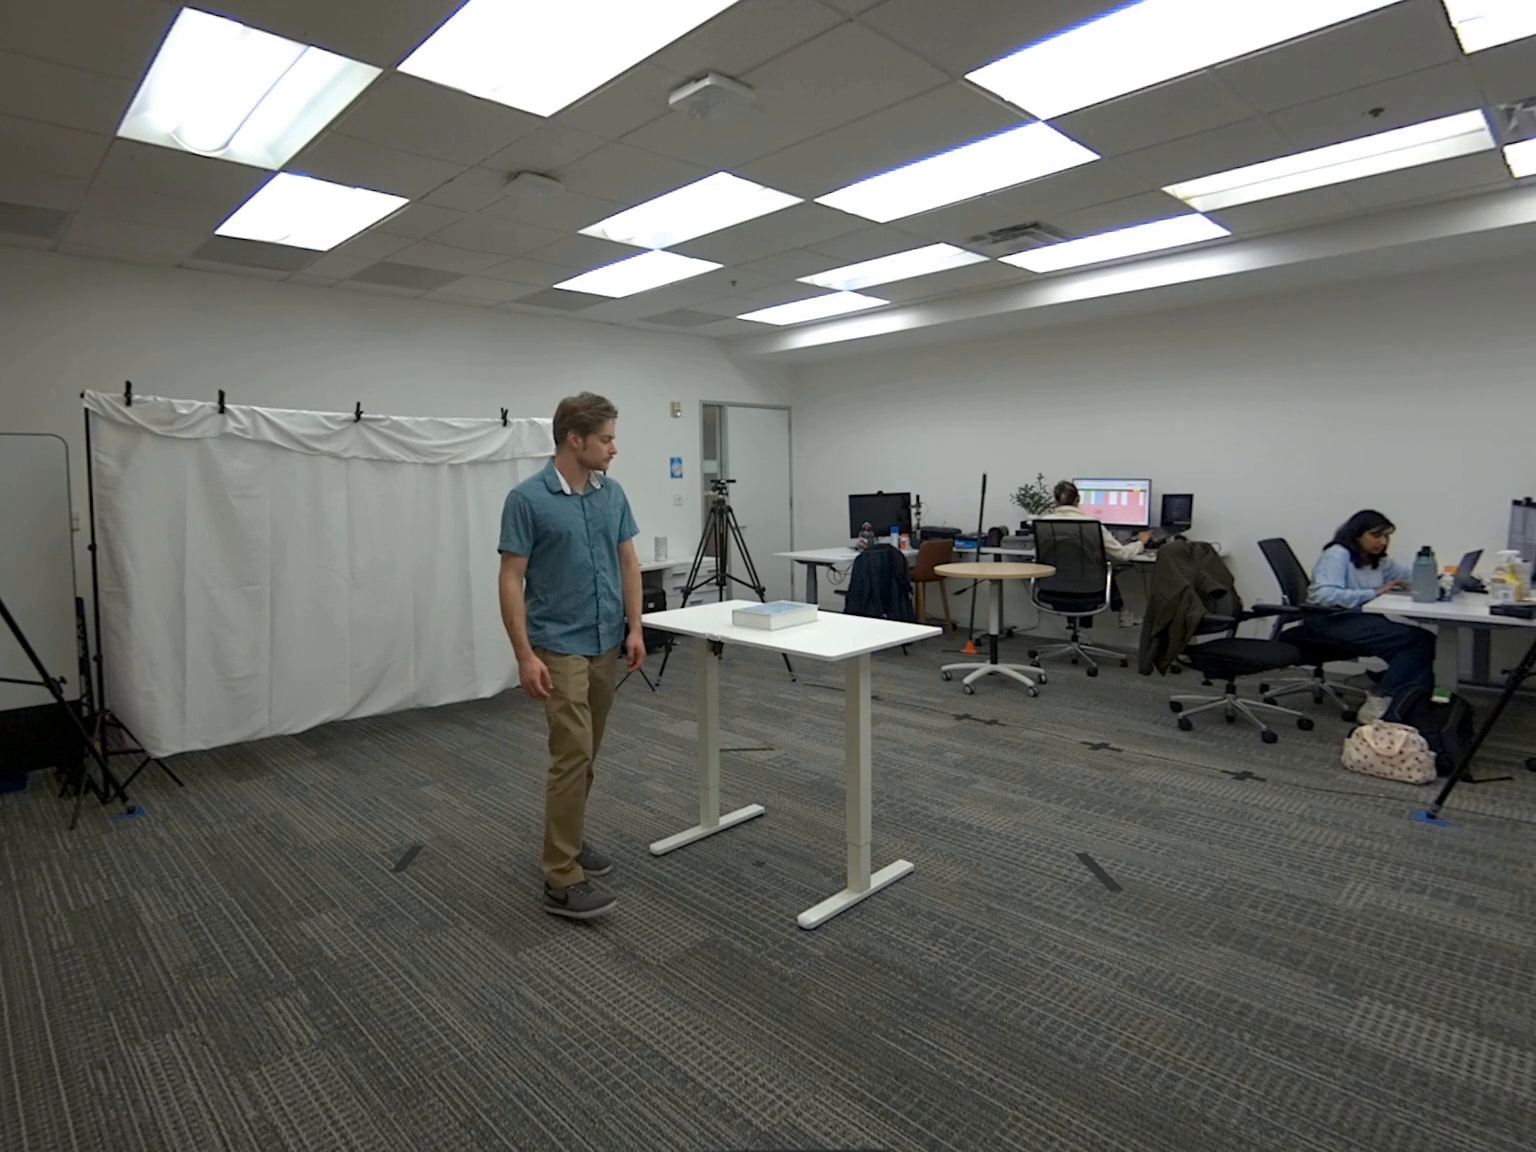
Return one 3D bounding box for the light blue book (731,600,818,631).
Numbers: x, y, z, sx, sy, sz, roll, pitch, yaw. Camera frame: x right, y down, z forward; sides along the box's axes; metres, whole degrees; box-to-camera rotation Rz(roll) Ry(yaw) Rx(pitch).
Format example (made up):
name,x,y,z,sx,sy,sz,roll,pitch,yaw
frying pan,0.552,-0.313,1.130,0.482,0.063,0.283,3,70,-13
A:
name,x,y,z,sx,sy,sz,roll,pitch,yaw
light blue book,0.030,0.139,3.054,0.197,0.059,0.254,5,9,43
